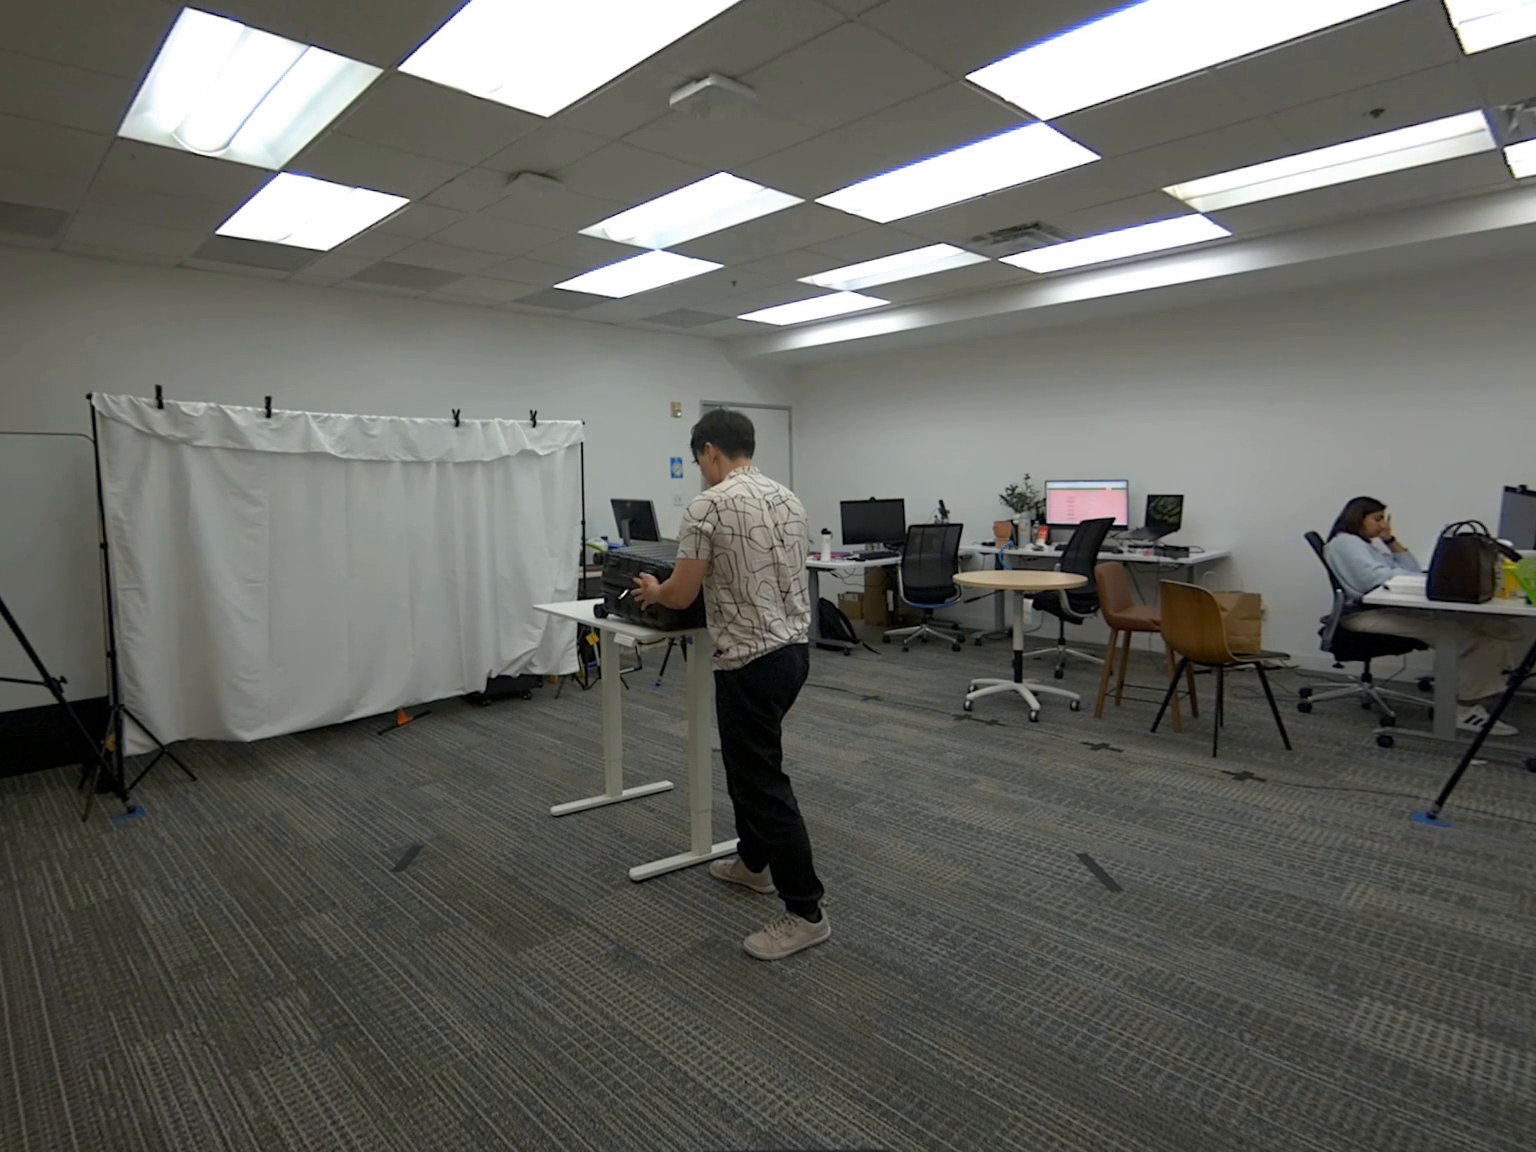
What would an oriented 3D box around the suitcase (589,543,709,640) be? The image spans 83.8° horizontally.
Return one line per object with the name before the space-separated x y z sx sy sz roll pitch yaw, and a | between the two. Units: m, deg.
suitcase | -0.354 0.038 3.123 0.366 0.247 0.567 -6 9 -37
